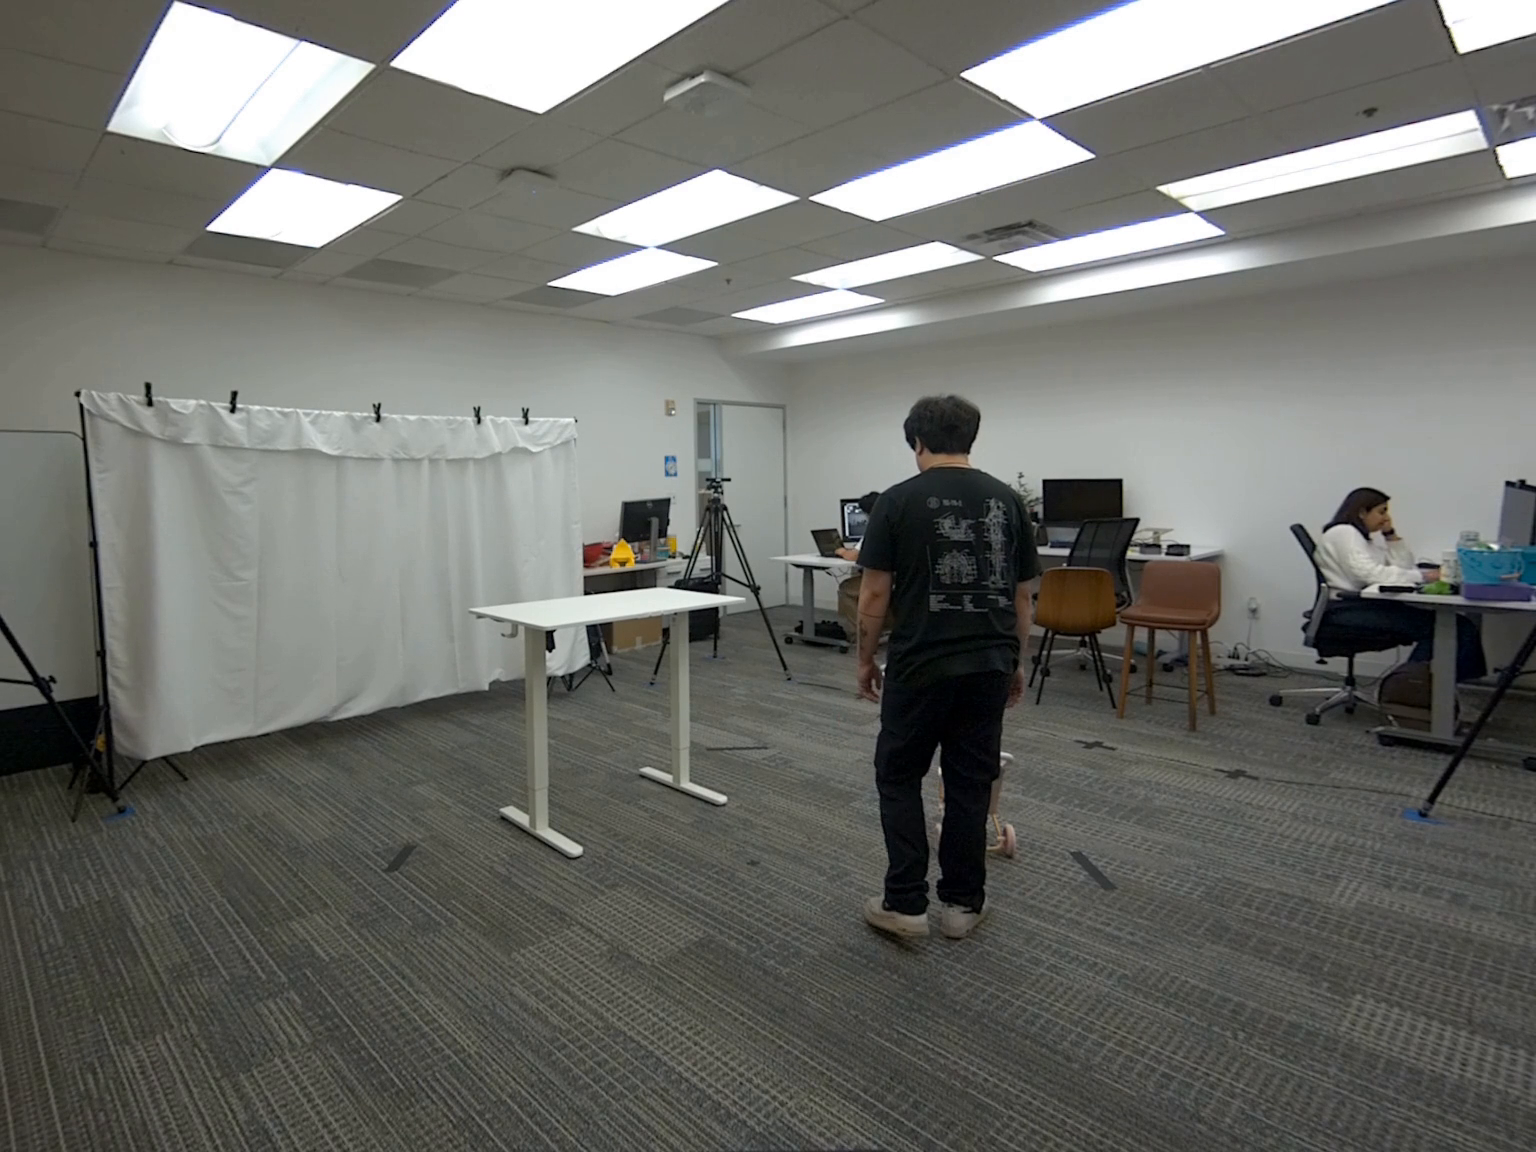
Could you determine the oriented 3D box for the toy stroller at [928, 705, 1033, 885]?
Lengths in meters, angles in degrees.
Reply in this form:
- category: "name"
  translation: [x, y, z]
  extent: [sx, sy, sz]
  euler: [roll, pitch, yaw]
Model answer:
- category: "toy stroller"
  translation: [0.775, 0.799, 3.194]
  extent: [0.283, 0.526, 0.345]
  euler: [1, 20, 5]
